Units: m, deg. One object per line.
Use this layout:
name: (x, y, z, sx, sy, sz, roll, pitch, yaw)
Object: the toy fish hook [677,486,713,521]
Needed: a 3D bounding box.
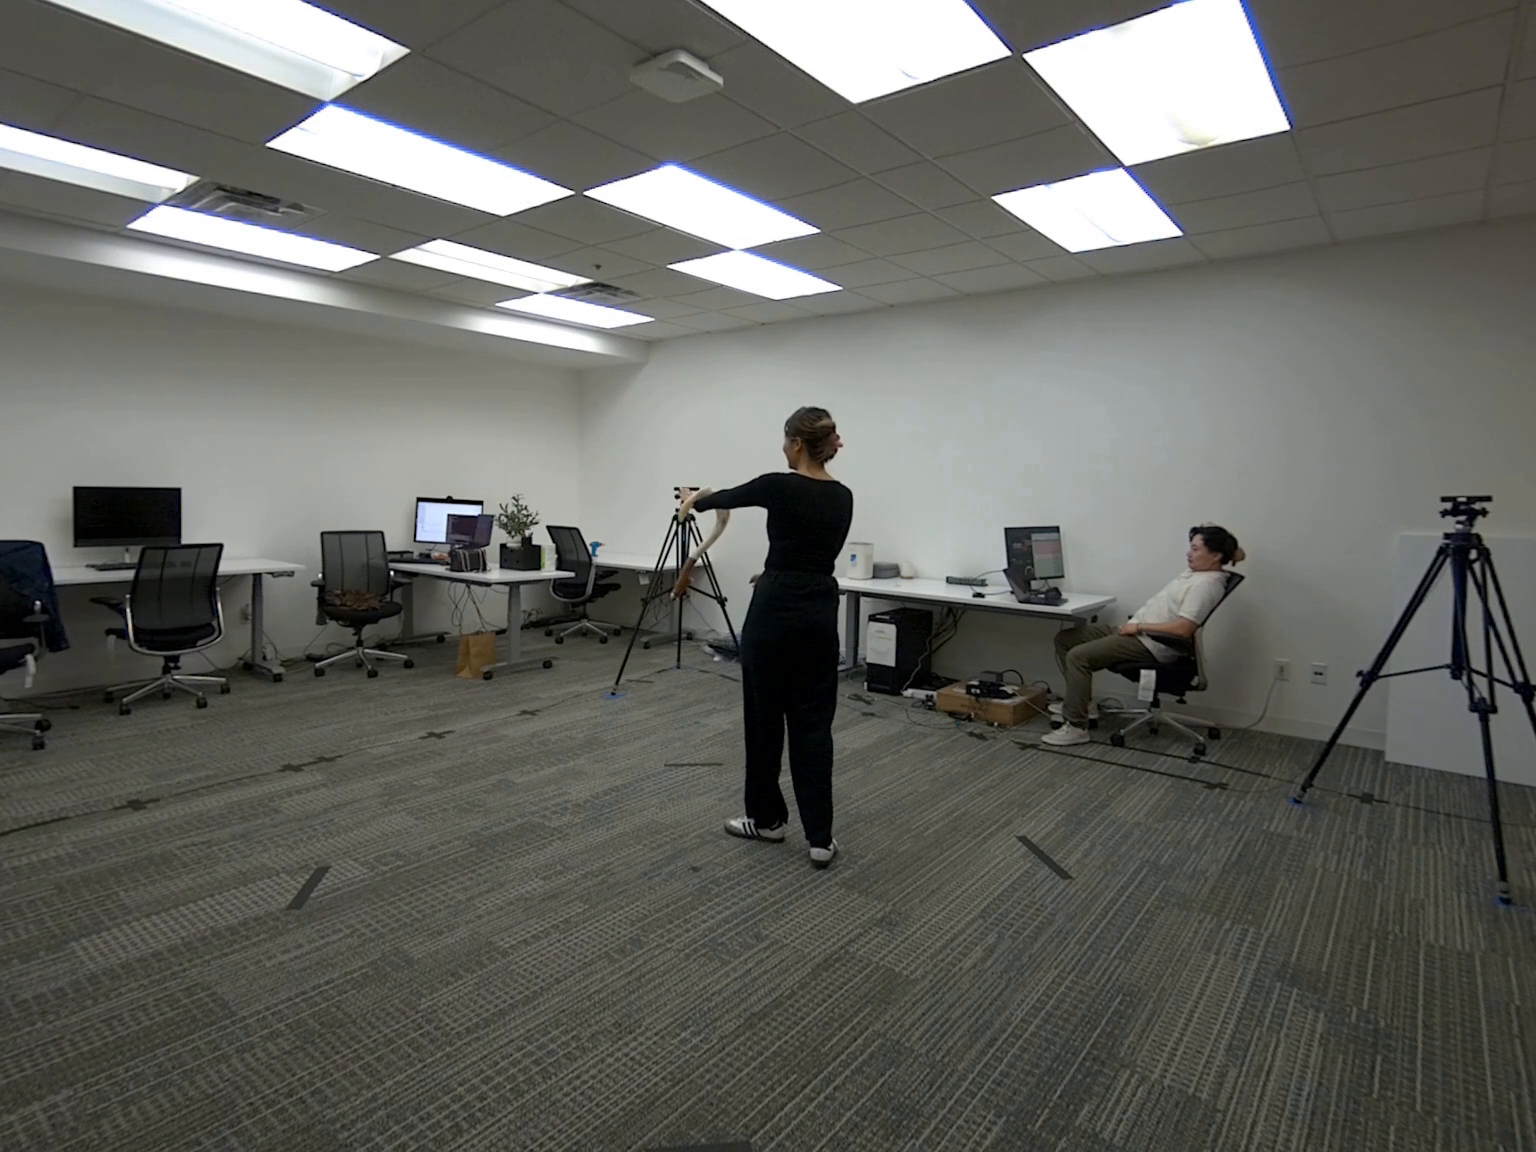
toy fish hook: (-0.338, -0.142, 3.627, 0.220, 0.508, 0.049, 29, -8, -15)
